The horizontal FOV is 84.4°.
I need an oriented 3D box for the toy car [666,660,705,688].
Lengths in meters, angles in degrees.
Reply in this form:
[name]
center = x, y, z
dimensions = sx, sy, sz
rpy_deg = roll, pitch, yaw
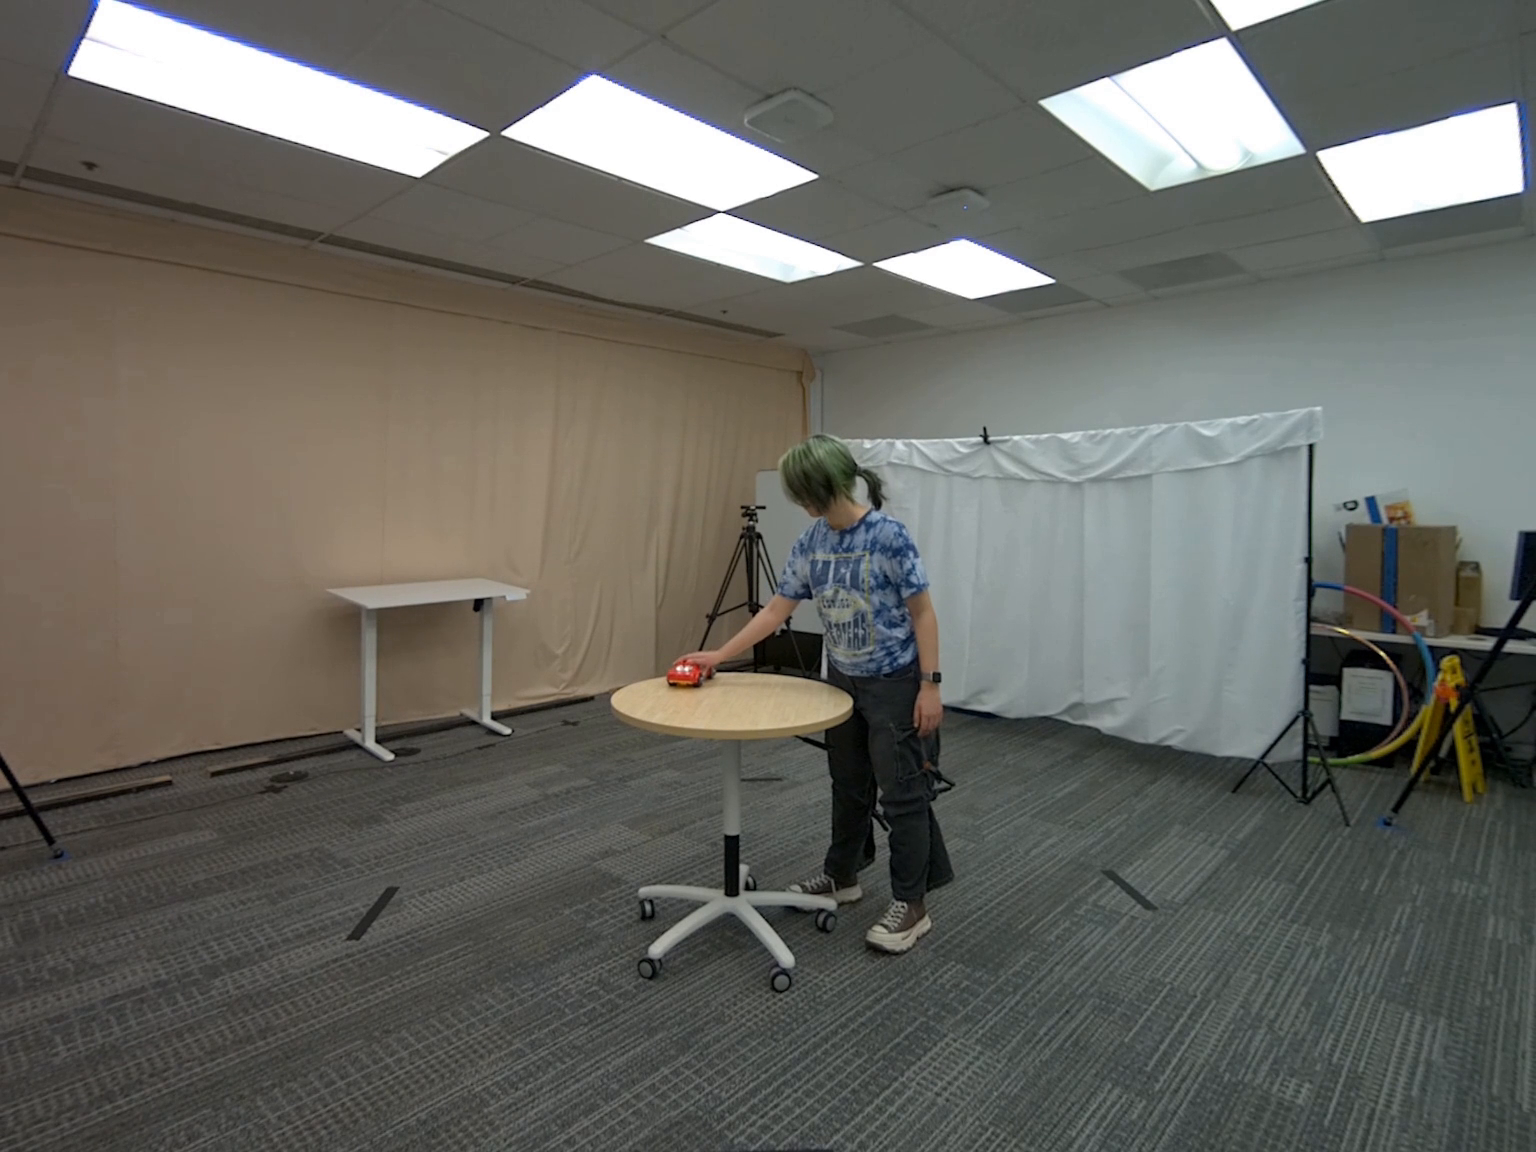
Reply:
[toy car]
center = -0.265, 0.340, 2.878
dimensions = 0.132, 0.083, 0.249
rpy_deg = 2, -6, 14
